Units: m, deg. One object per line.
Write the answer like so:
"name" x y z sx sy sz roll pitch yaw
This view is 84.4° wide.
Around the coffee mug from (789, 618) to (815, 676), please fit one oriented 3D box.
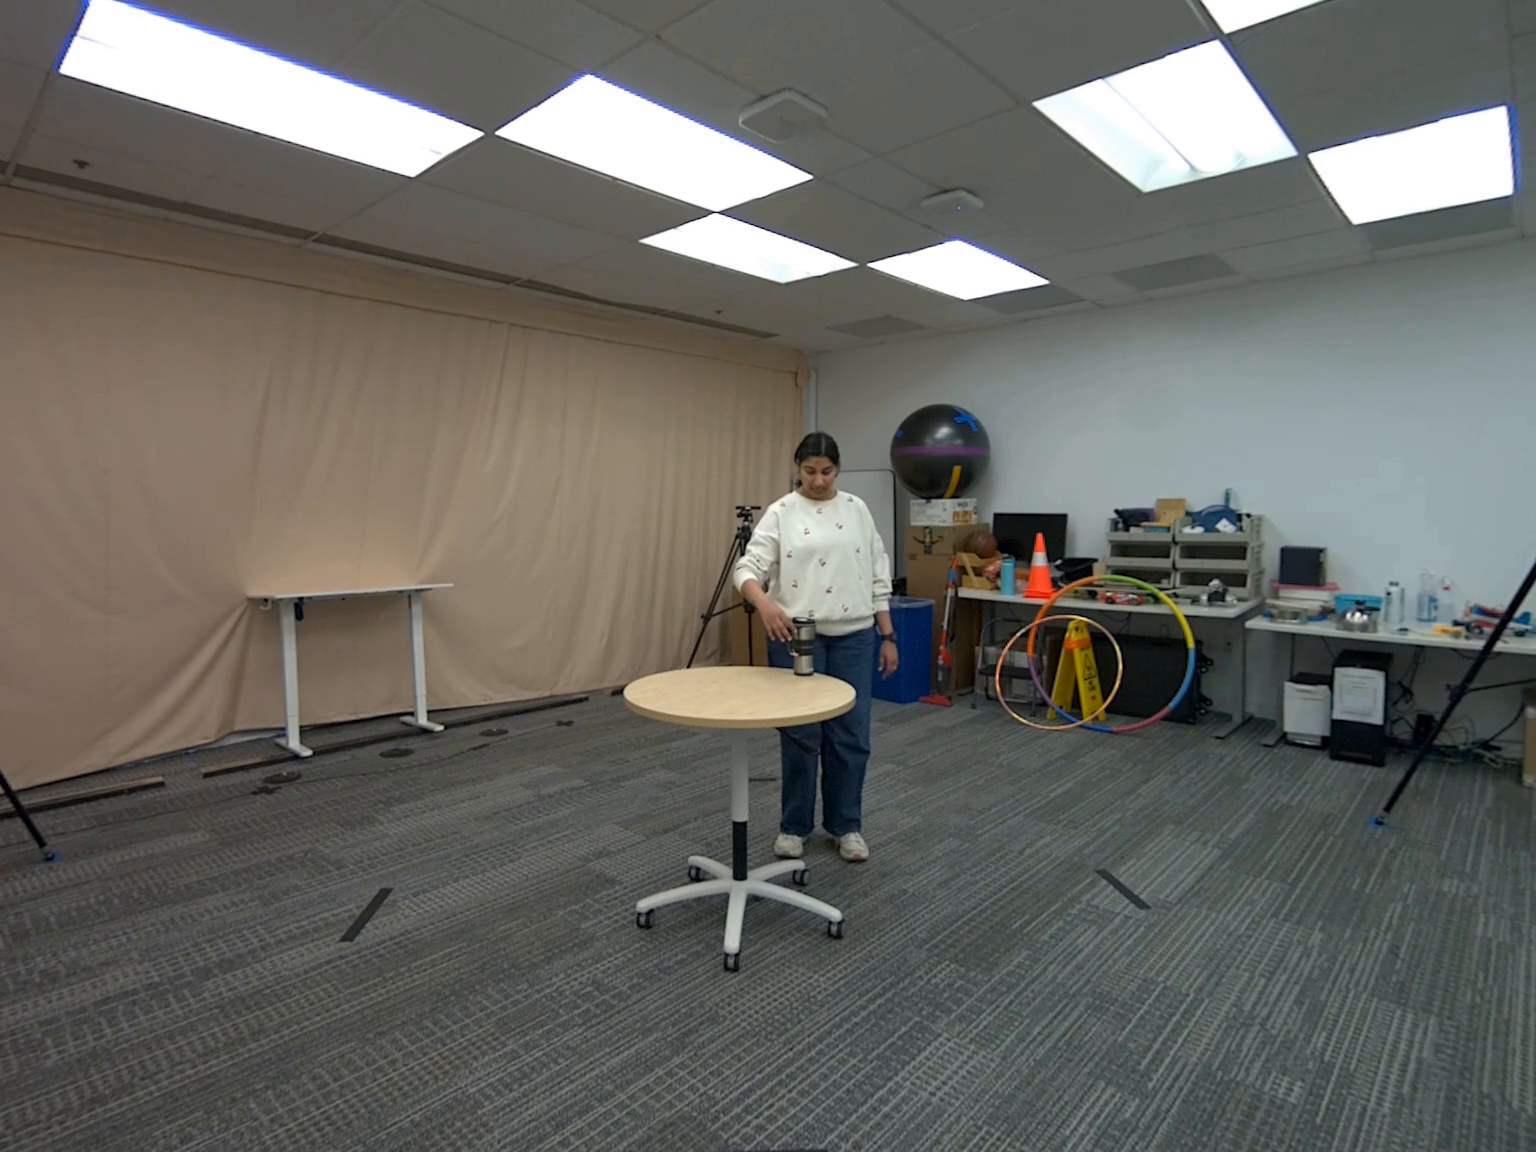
"coffee mug" 0.119 0.255 3.043 0.126 0.202 0.085 8 10 44
